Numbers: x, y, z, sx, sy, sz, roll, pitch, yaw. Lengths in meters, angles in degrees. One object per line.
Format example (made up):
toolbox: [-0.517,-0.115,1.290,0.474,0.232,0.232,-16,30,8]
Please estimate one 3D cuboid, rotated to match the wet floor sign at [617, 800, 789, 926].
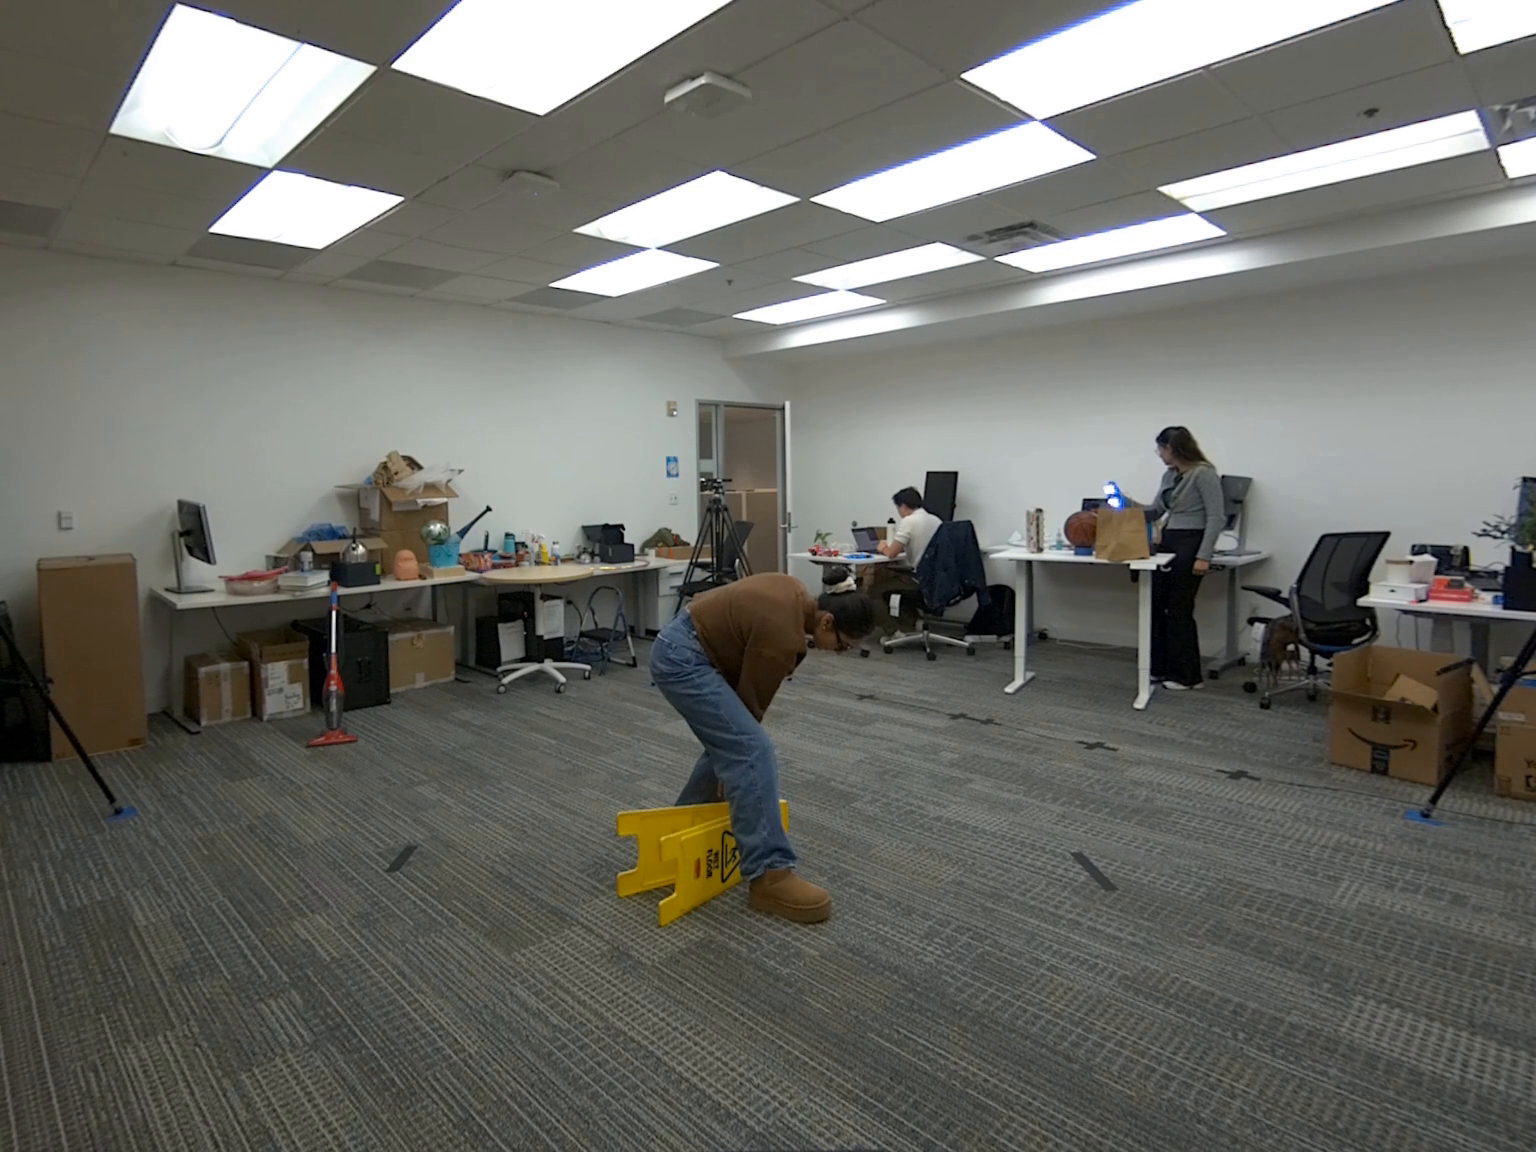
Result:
wet floor sign: [-0.178,0.935,2.968,0.628,0.281,0.298,-2,4,-40]
